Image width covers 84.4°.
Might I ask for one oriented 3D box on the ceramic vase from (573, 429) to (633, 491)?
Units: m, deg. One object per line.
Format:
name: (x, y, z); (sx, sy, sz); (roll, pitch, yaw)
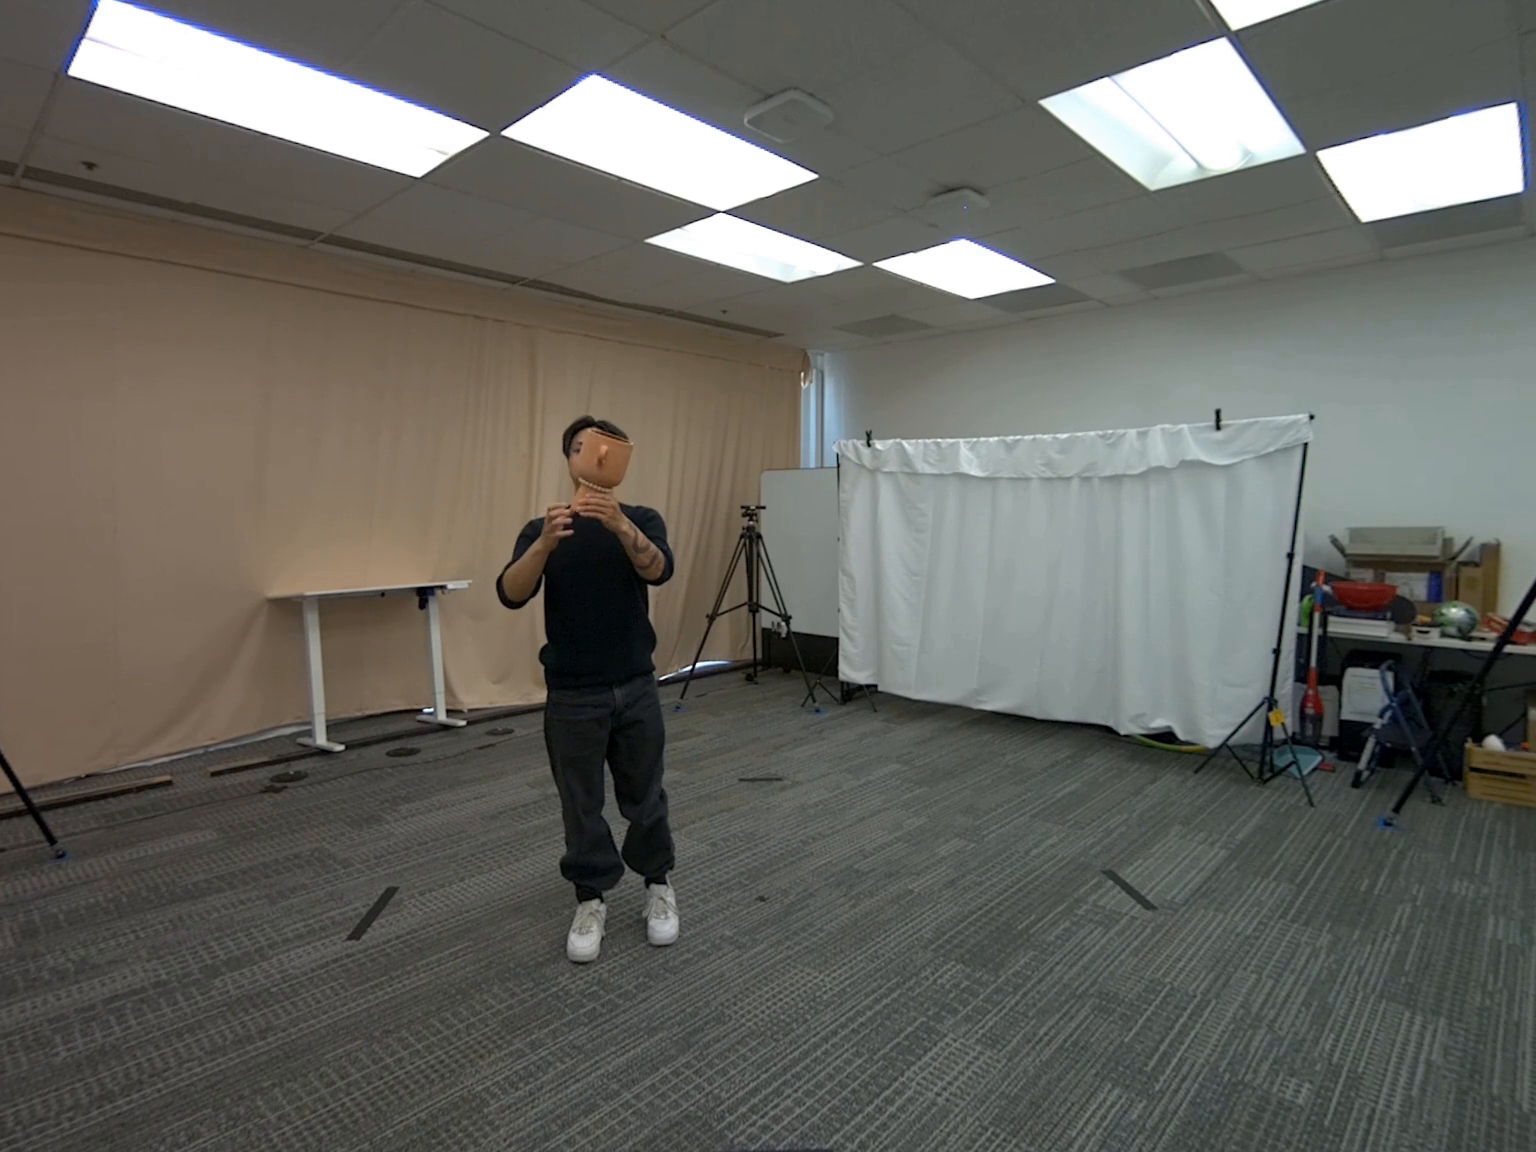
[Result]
ceramic vase: (-0.457, -0.277, 2.284); (0.139, 0.219, 0.154); (25, 12, 32)
